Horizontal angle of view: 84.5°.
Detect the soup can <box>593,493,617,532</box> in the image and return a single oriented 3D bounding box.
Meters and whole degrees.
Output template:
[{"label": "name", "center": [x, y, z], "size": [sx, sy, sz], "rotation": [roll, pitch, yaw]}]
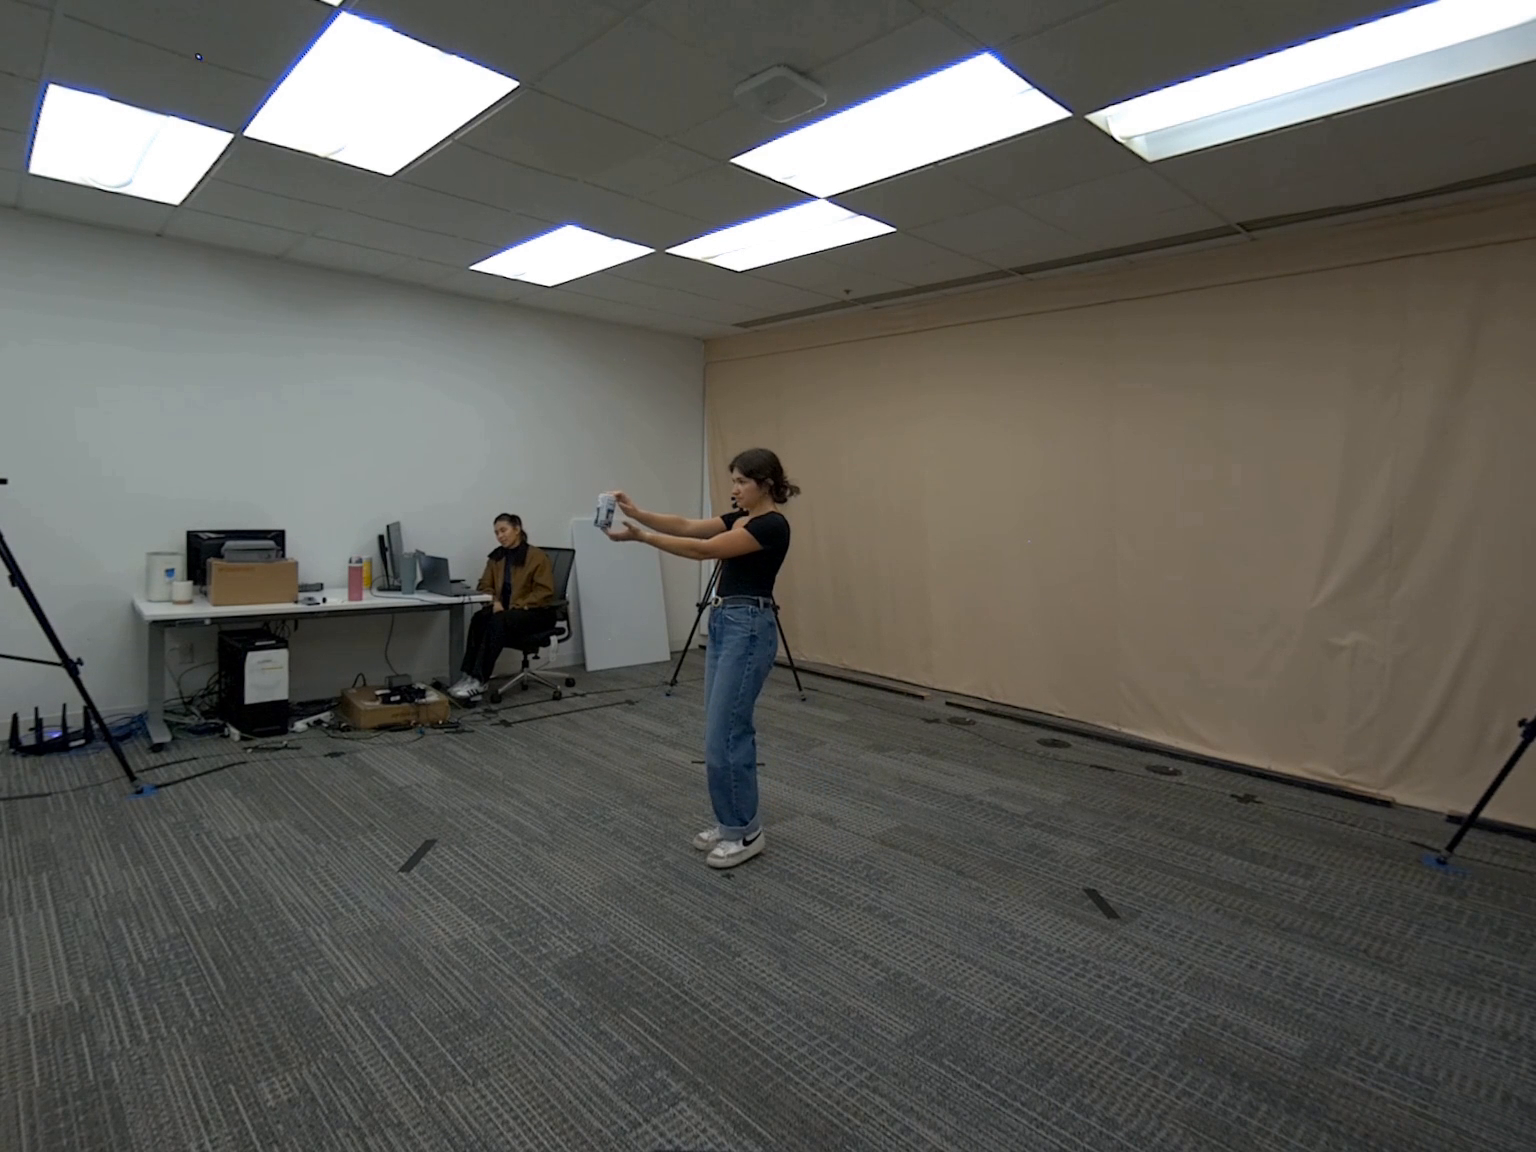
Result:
[{"label": "soup can", "center": [-0.610, -0.241, 3.118], "size": [0.067, 0.122, 0.067], "rotation": [8, -3, -1]}]
